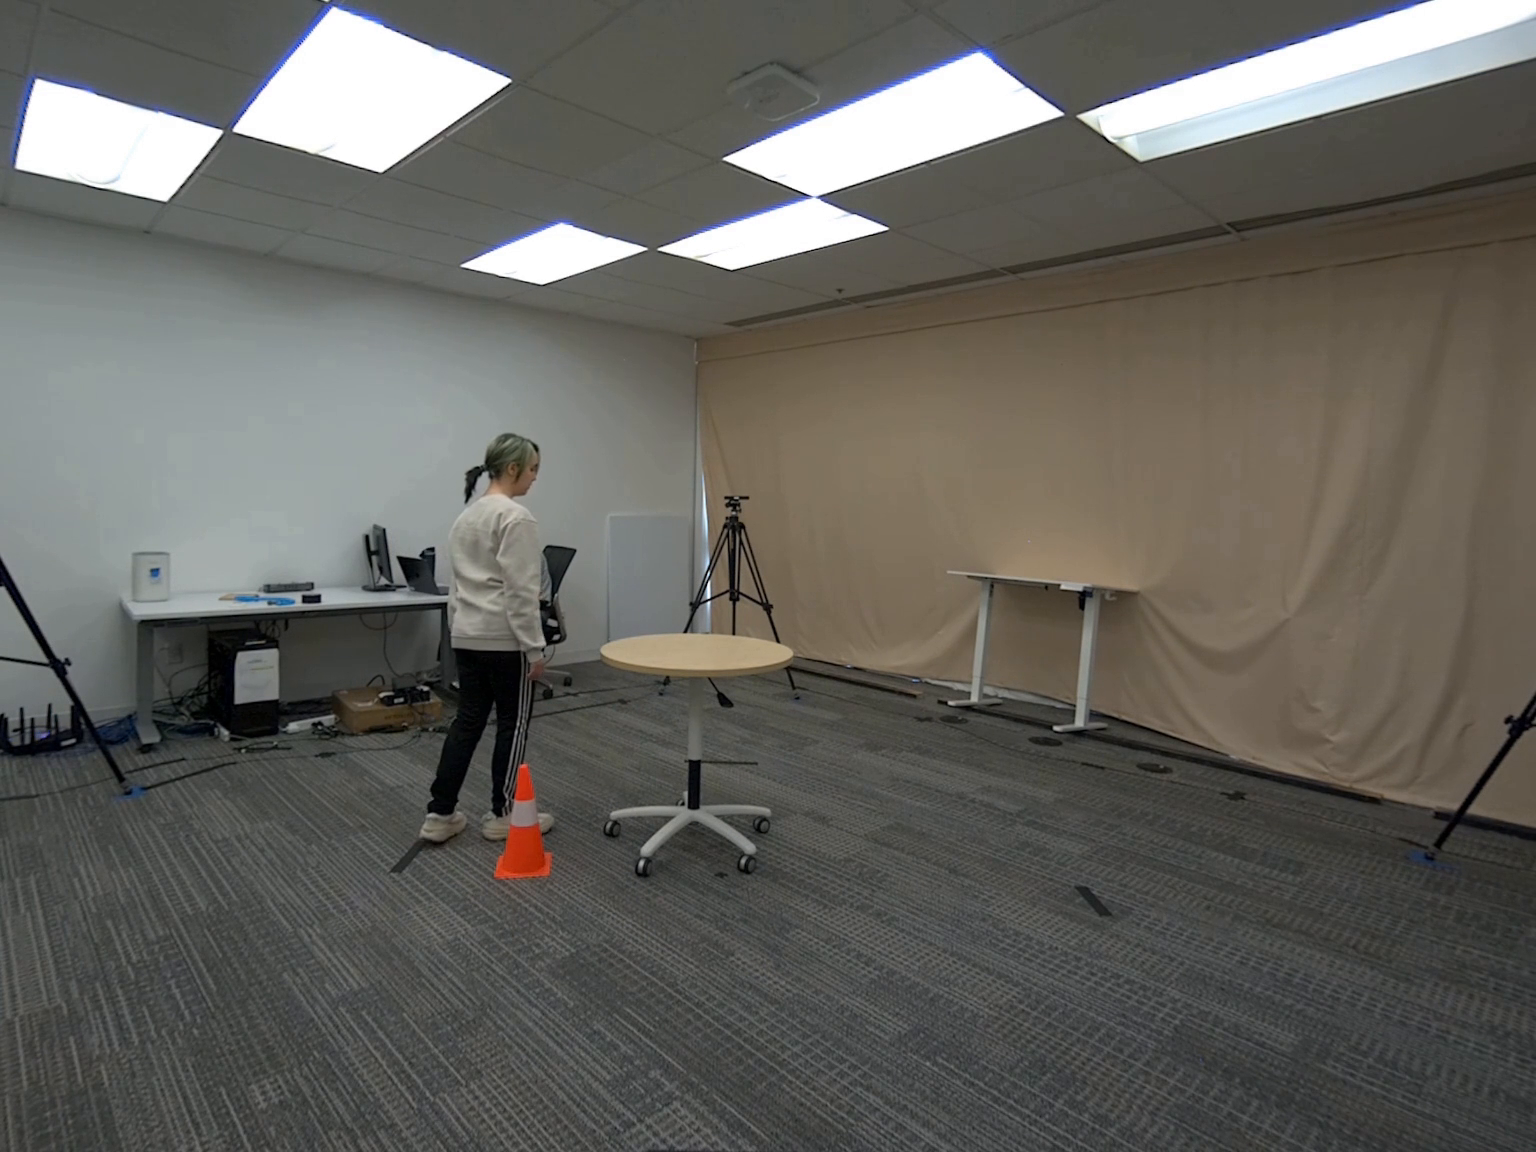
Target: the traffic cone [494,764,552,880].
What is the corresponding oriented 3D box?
[{"bbox_3d":[-0.925,0.901,3.134,0.203,0.383,0.205,-1,3,-11],"label":"traffic cone"}]
